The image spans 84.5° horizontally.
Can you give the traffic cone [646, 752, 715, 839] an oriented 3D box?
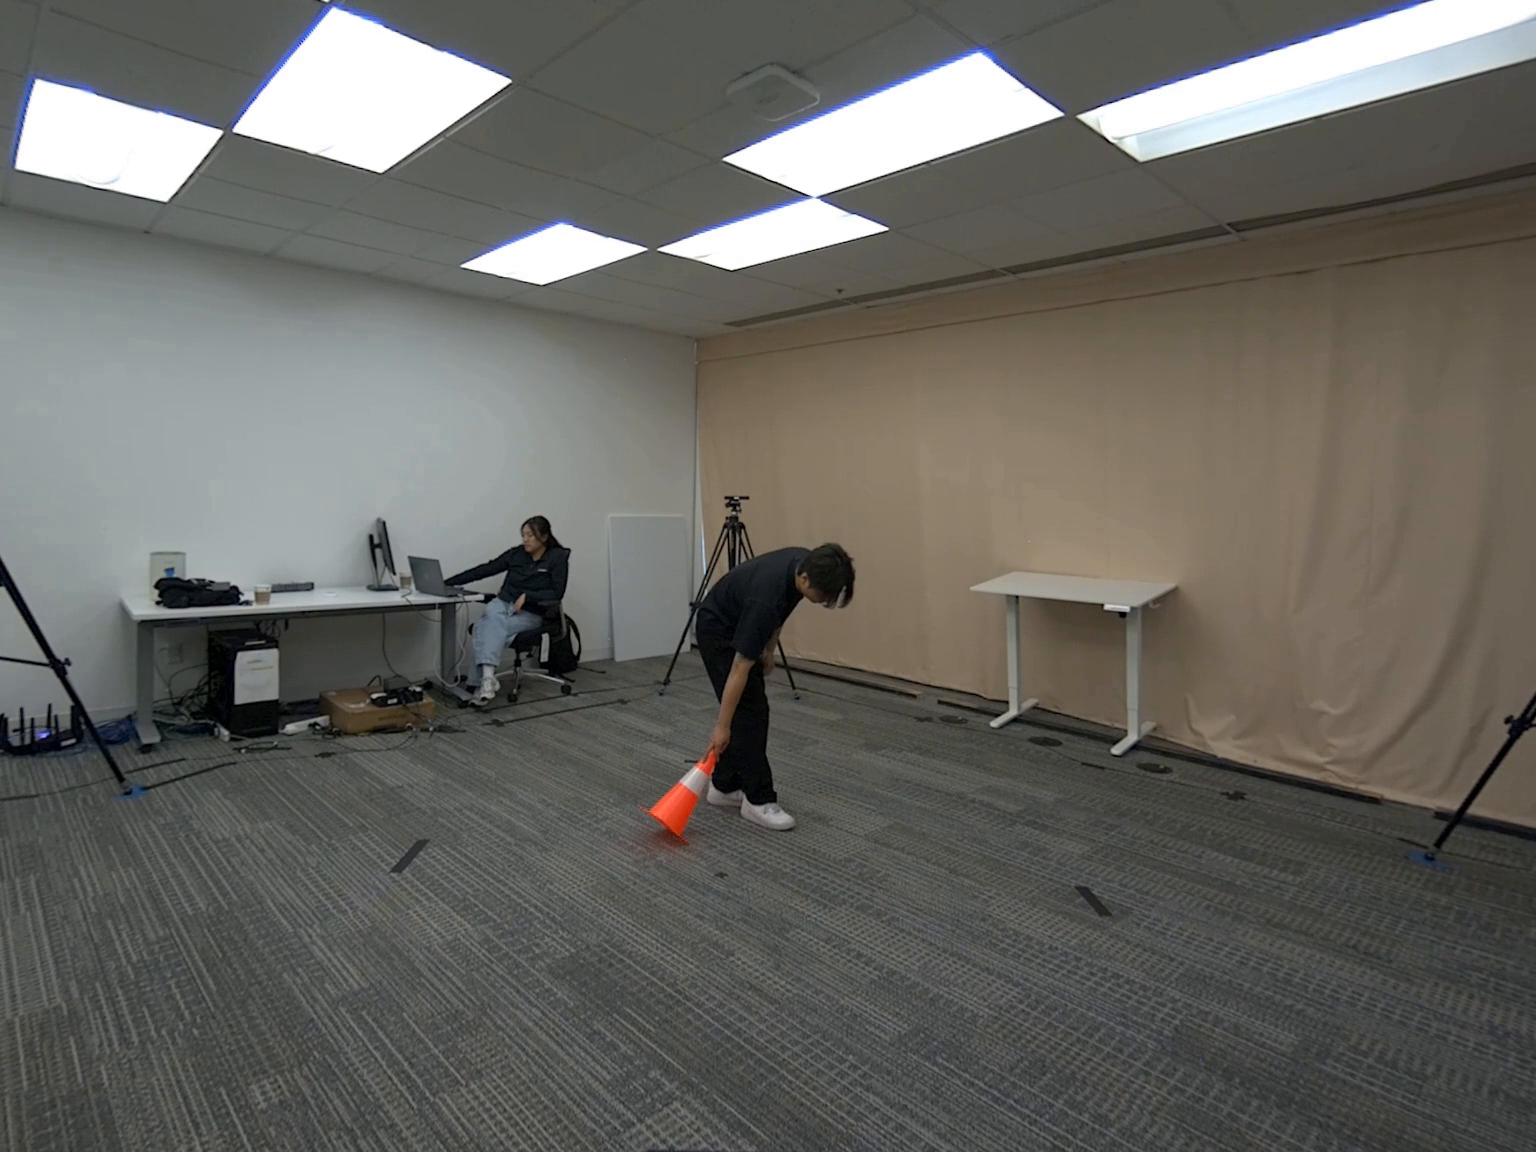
[{"bbox_3d":[-0.329,0.866,3.468,0.200,0.385,0.207,43,-21,-23],"label":"traffic cone"}]
